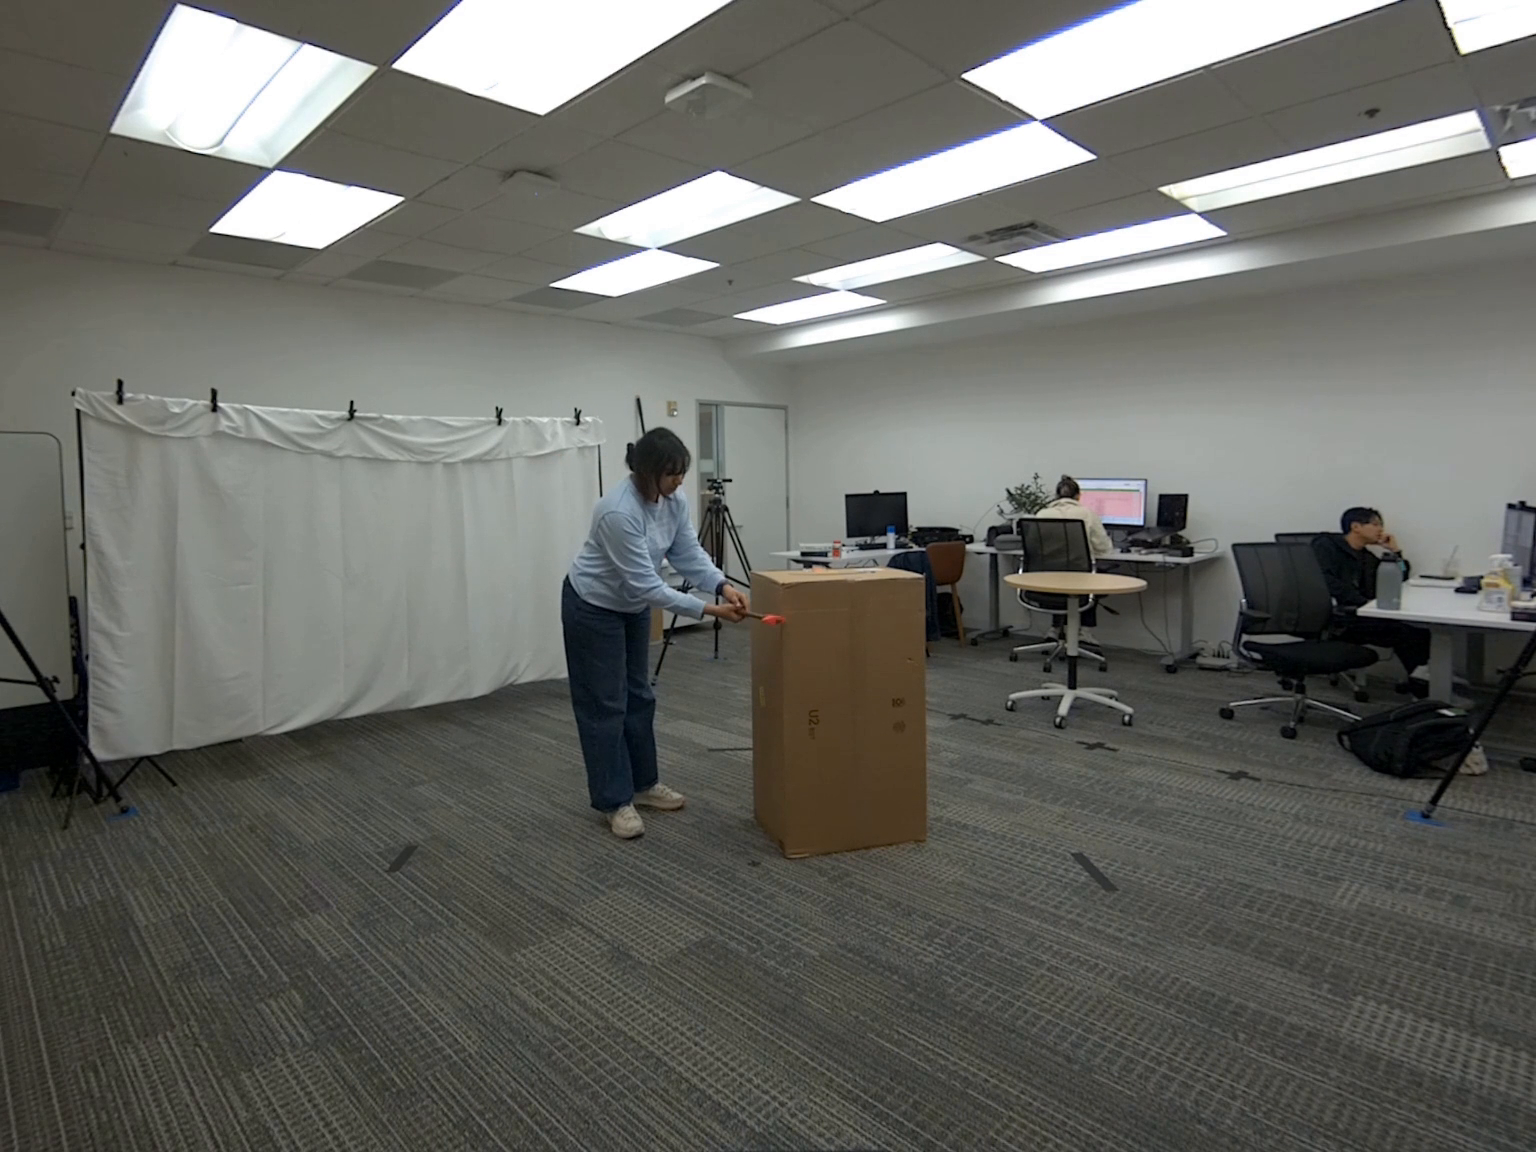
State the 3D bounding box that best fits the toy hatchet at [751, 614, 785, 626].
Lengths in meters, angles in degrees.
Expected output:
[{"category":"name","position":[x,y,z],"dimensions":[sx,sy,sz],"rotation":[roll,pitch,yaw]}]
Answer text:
[{"category":"toy hatchet","position":[-0.074,0.144,3.108],"dimensions":[0.127,0.029,0.279],"rotation":[1,7,-35]}]
